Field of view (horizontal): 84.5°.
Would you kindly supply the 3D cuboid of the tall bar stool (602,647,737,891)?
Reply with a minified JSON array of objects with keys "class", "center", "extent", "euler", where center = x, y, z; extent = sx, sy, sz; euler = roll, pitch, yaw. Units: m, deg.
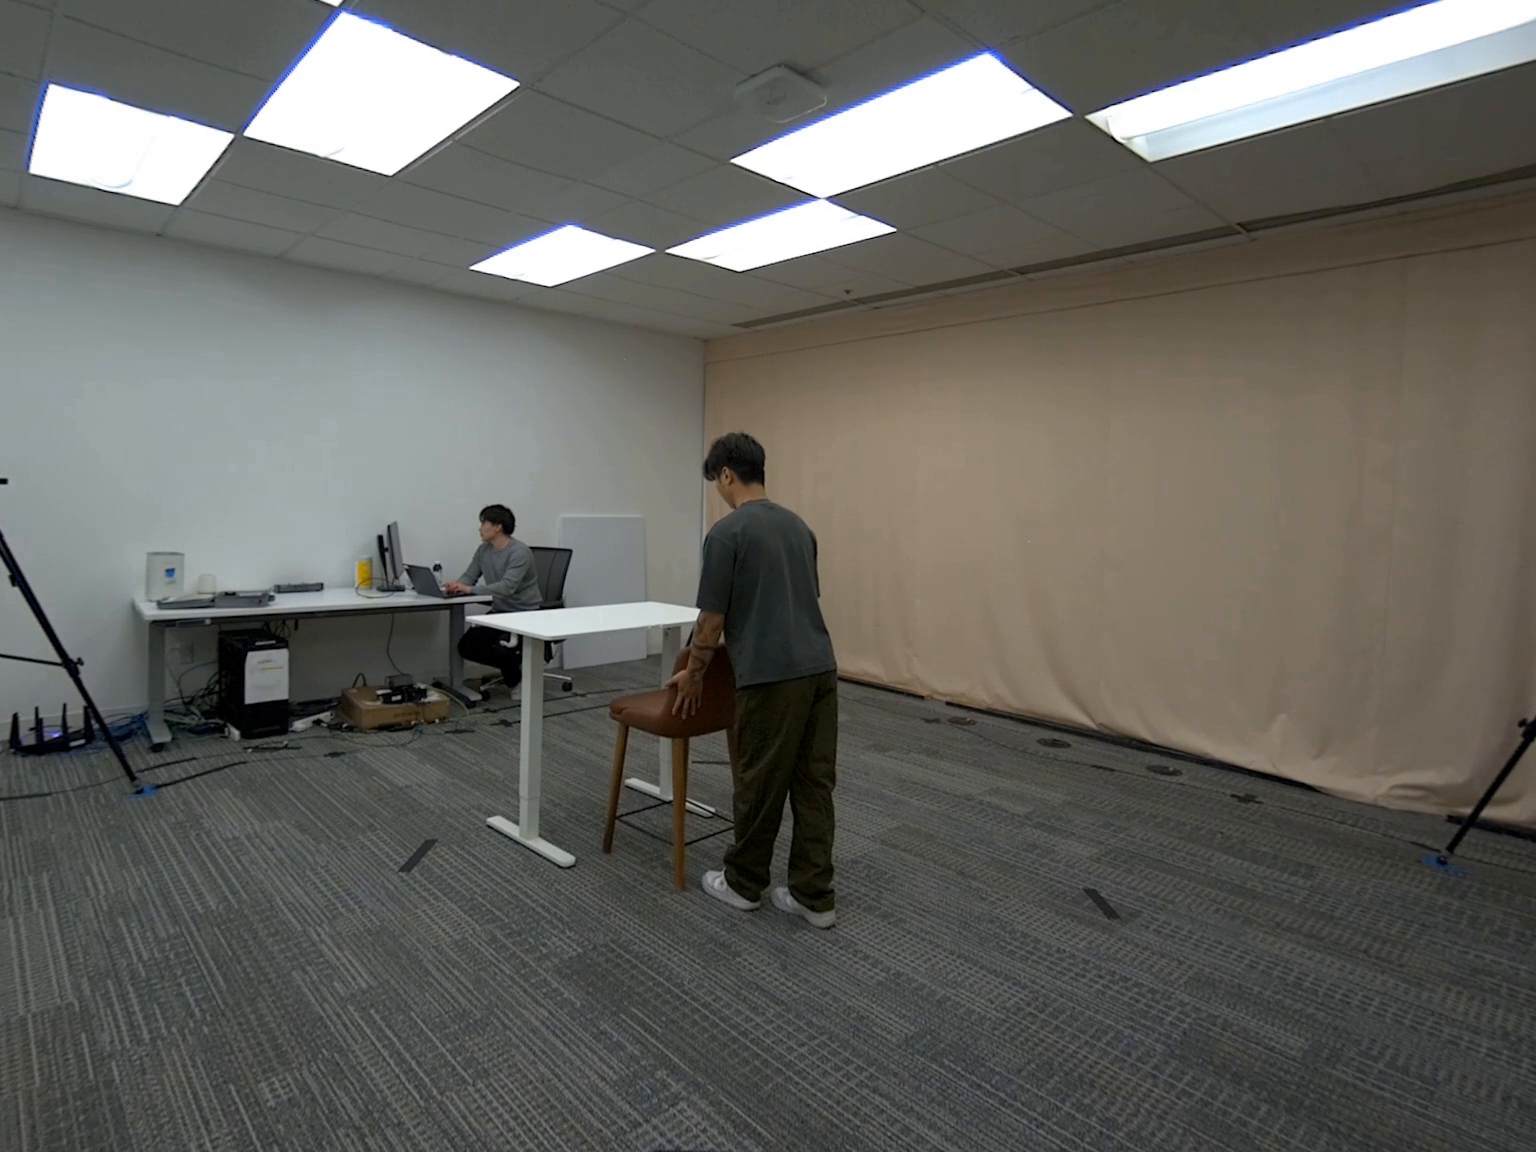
[{"class":"tall bar stool","center":[-0.332,0.649,3.228],"extent":[0.480,0.887,0.446],"euler":[8,6,44]}]
